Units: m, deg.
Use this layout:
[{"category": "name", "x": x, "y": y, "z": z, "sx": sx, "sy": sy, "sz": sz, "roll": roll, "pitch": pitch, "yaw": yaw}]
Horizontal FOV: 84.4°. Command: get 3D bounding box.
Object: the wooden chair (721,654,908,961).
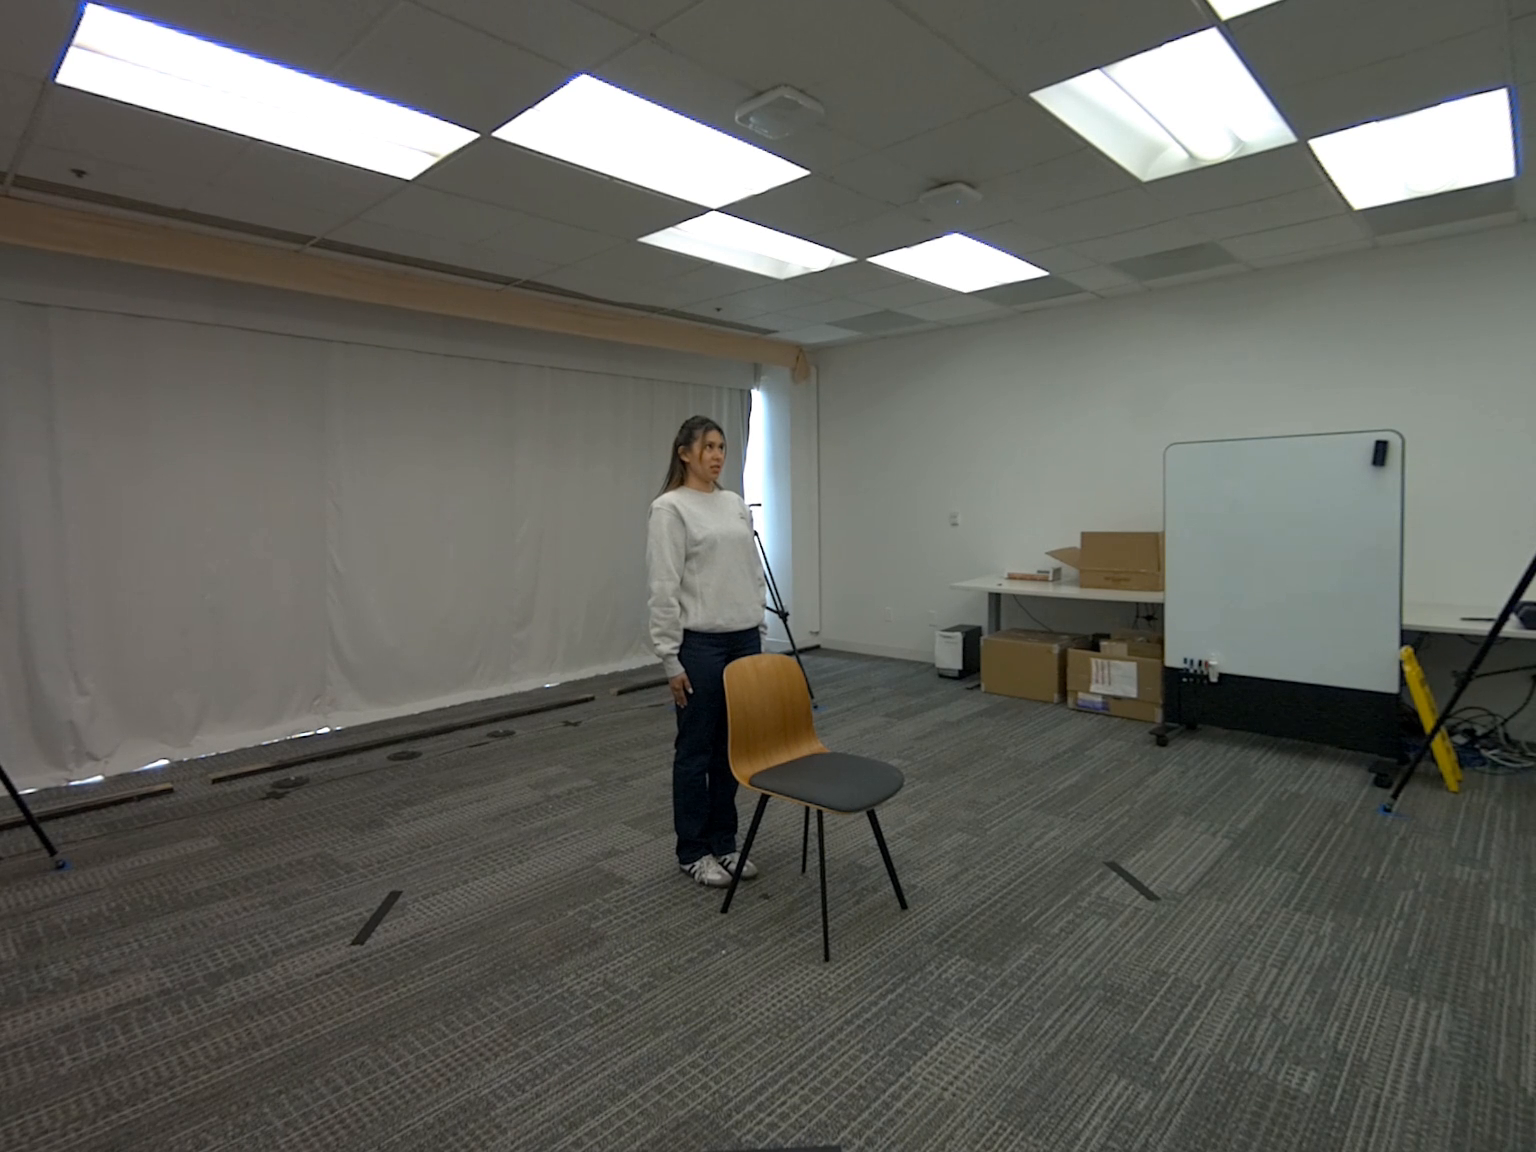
[{"category": "wooden chair", "x": 0.165, "y": 0.721, "z": 2.830, "sx": 0.539, "sy": 0.877, "sz": 0.463, "roll": -4, "pitch": 1, "yaw": 42}]
